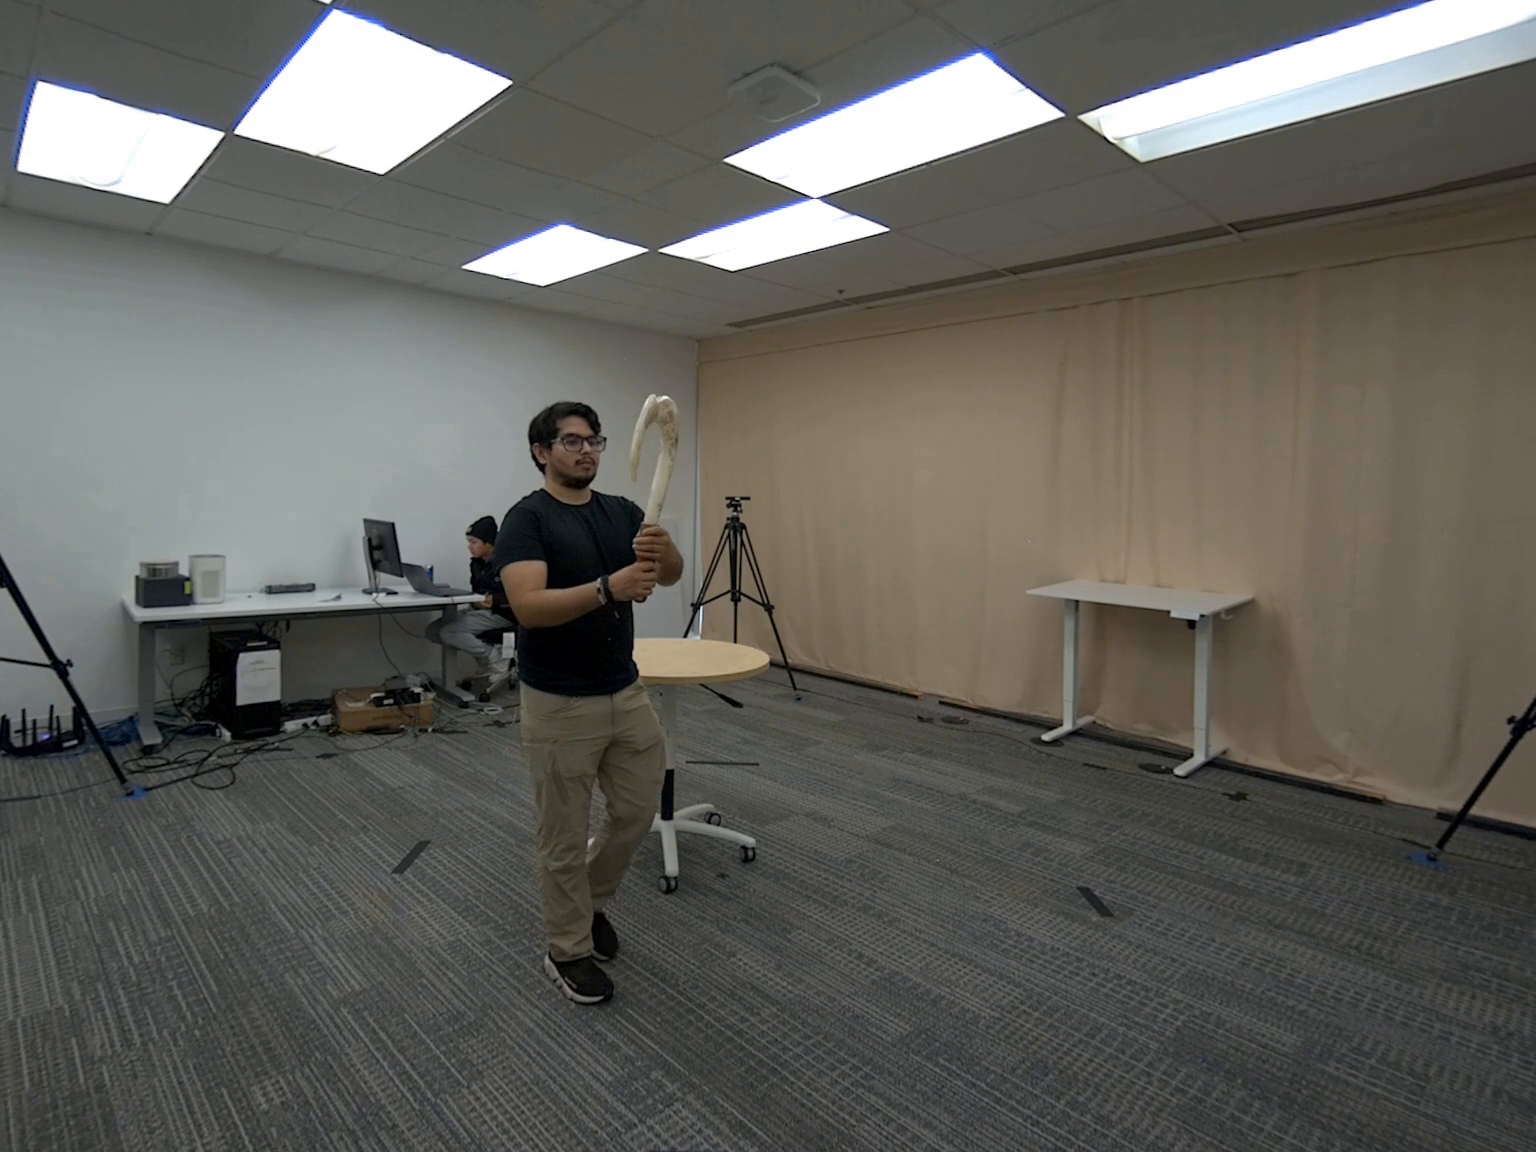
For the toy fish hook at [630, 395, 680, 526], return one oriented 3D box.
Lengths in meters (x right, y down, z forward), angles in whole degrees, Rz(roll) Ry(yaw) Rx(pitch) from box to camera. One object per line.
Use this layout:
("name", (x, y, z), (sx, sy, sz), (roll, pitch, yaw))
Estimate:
("toy fish hook", (-0.300, -0.171, 1.980), (0.049, 0.504, 0.222), (11, 10, 19))
